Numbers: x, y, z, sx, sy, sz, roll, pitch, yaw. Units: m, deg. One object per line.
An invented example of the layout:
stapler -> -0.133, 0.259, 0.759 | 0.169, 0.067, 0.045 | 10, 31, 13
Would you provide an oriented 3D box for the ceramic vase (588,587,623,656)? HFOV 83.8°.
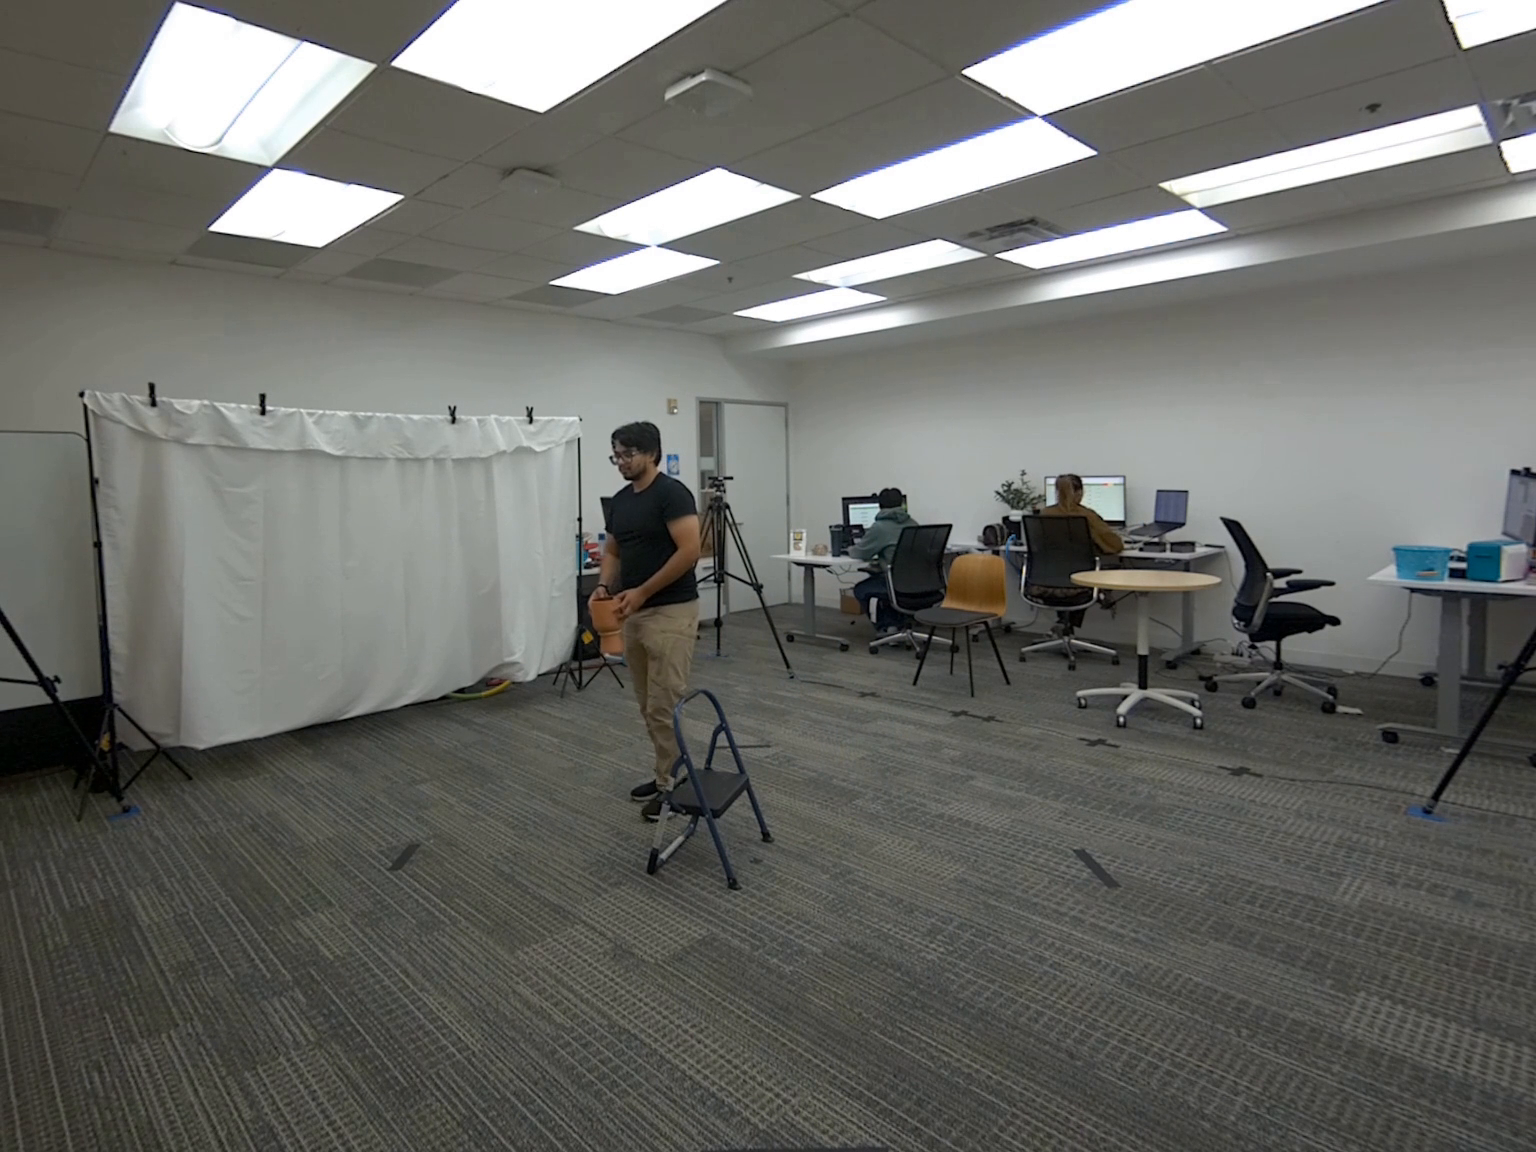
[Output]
ceramic vase -> -0.650, 0.202, 3.525 | 0.133, 0.219, 0.161 | -4, 4, -15
